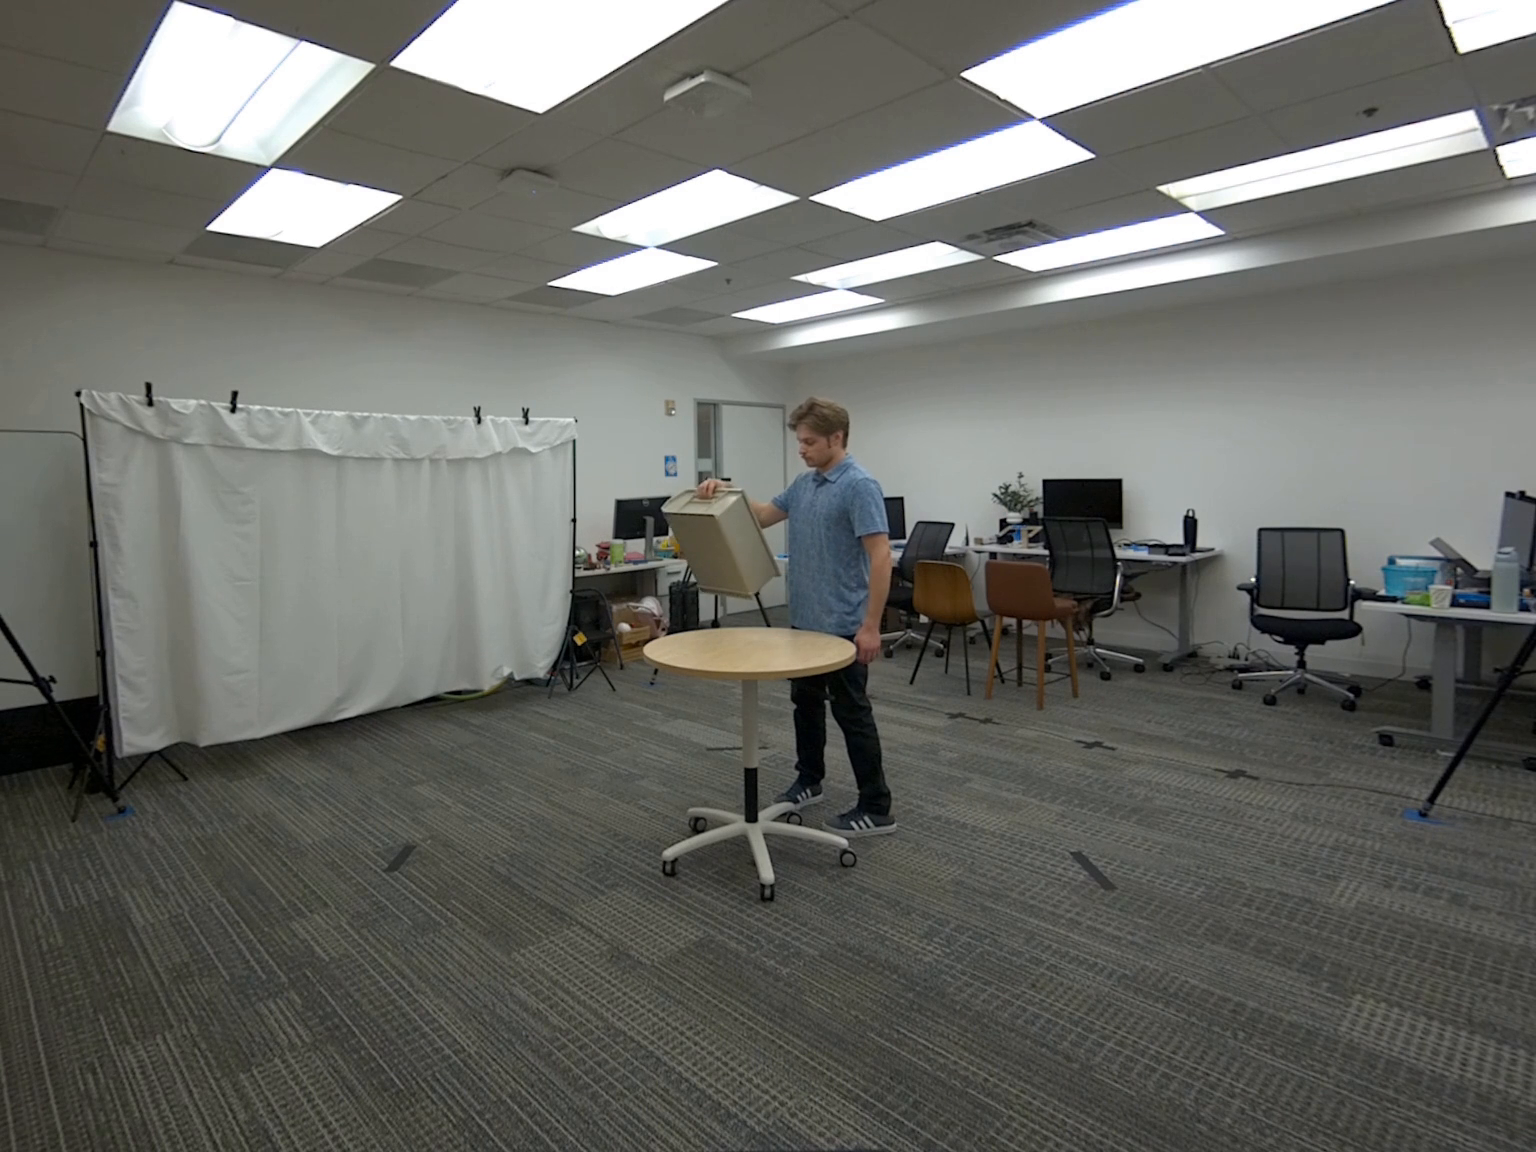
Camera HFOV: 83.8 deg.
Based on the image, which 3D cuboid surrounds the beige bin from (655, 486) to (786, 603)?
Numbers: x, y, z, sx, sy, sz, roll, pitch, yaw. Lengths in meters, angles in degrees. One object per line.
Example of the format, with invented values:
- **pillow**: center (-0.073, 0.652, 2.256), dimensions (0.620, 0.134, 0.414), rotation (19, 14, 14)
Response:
- **beige bin**: center (-0.198, -0.137, 3.533), dimensions (0.389, 0.410, 0.188), rotation (6, 39, 46)
